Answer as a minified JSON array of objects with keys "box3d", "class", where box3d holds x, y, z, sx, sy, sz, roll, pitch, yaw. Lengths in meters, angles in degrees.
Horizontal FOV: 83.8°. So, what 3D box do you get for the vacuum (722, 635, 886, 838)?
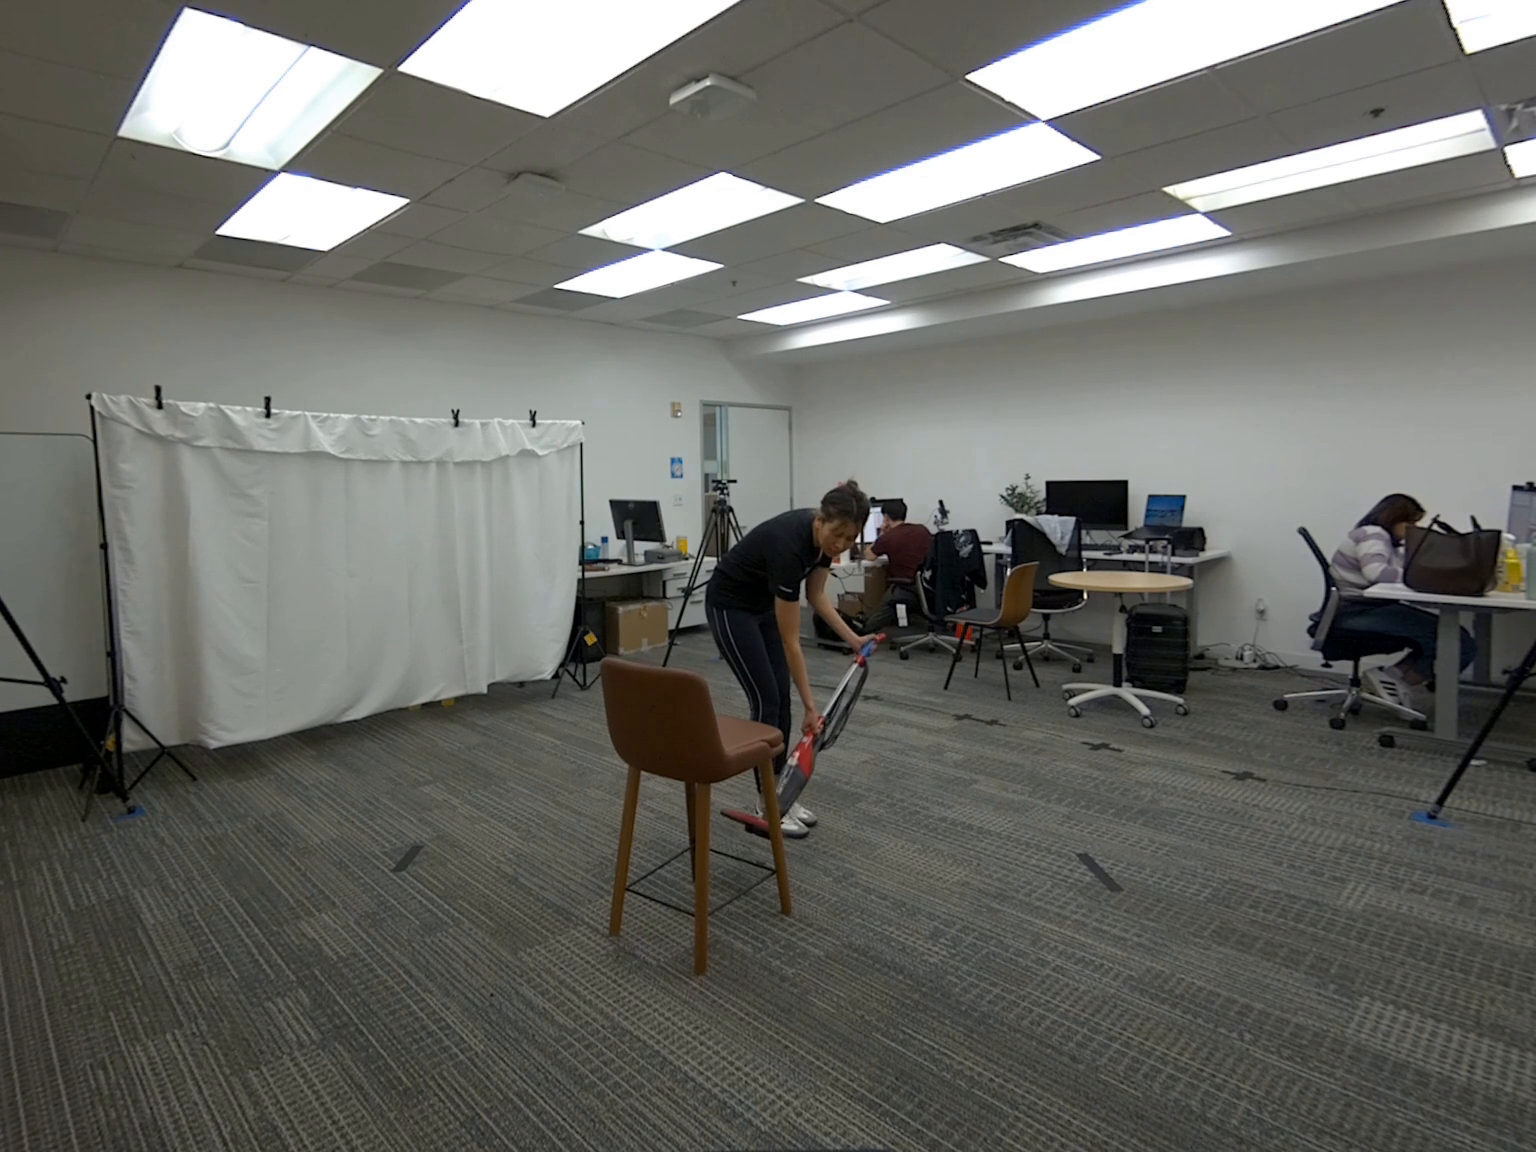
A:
[{"box3d":[0.234,0.575,3.289,0.260,0.139,1.050,4,40,37],"class":"vacuum"}]
